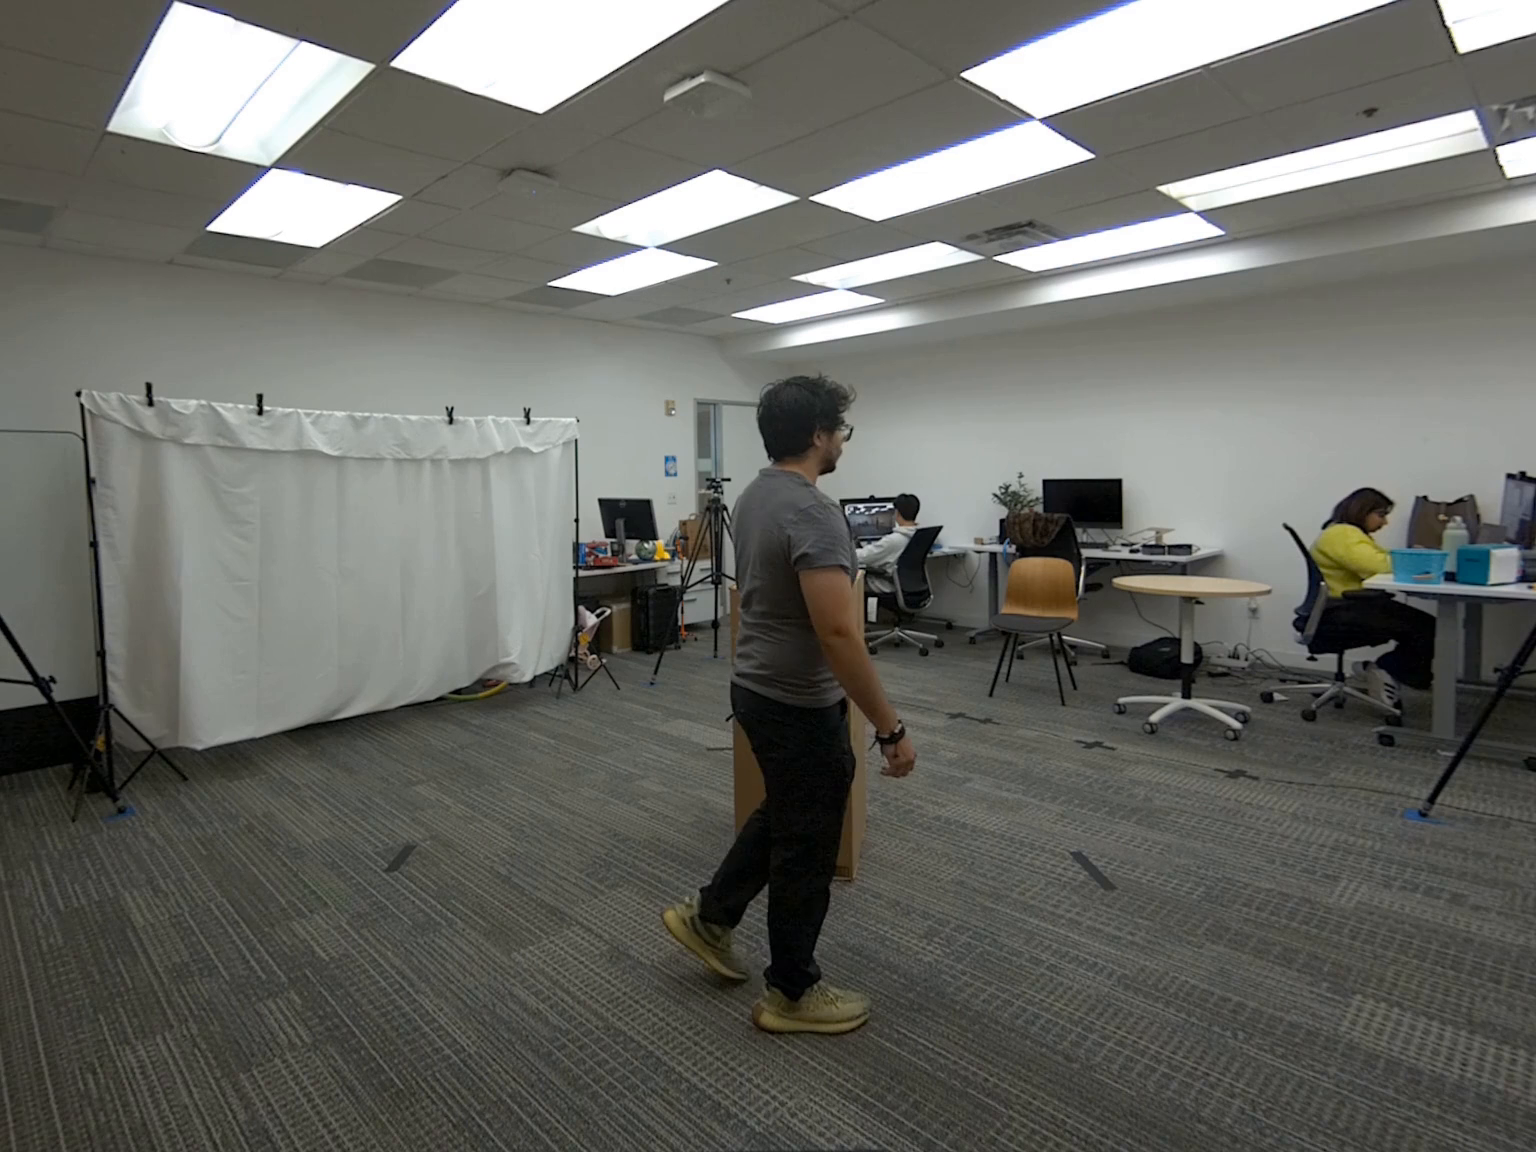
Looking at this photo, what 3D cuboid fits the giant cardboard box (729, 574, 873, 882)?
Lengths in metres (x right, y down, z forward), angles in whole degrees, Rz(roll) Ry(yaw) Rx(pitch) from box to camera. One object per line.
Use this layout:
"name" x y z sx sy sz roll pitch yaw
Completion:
"giant cardboard box" 0.131 0.514 3.237 0.432 1.022 0.572 0 4 13
